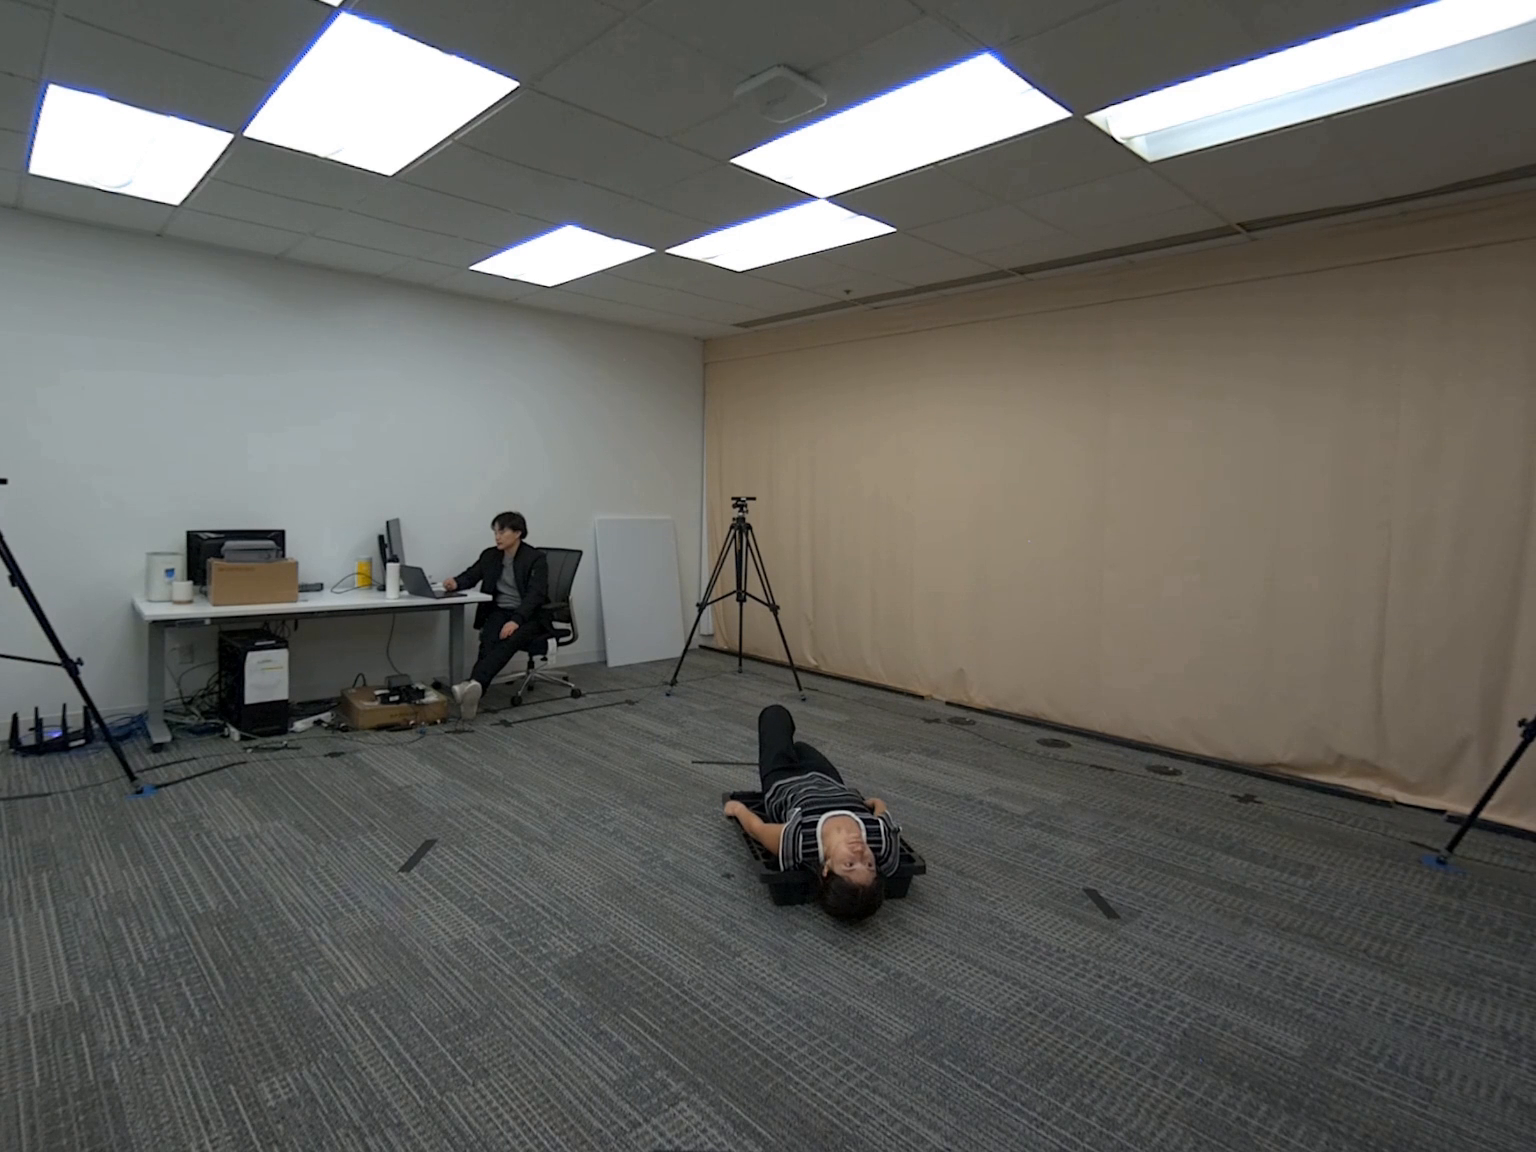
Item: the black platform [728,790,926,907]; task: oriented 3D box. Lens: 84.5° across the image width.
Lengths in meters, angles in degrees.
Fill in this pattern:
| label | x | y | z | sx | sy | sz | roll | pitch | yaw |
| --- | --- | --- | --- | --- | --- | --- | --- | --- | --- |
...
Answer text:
| label | x | y | z | sx | sy | sz | roll | pitch | yaw |
| --- | --- | --- | --- | --- | --- | --- | --- | --- | --- |
| black platform | 0.180 | 1.034 | 3.280 | 0.600 | 0.143 | 0.815 | -1 | 5 | -12 |
